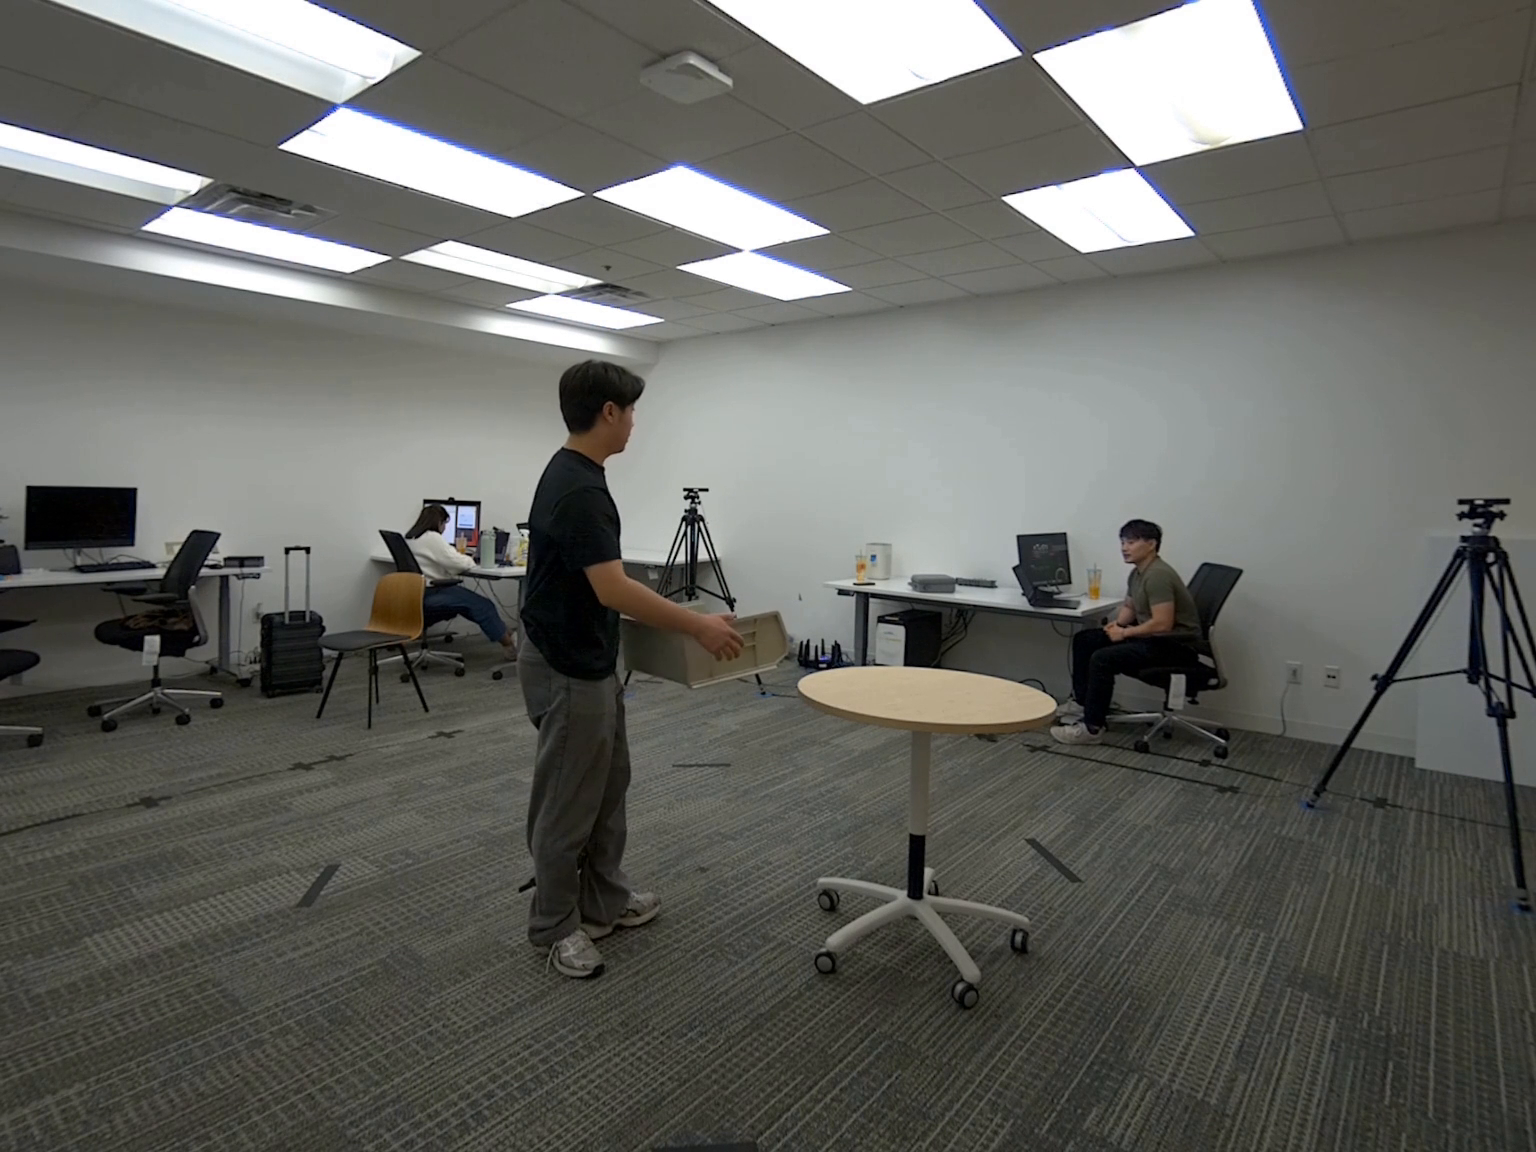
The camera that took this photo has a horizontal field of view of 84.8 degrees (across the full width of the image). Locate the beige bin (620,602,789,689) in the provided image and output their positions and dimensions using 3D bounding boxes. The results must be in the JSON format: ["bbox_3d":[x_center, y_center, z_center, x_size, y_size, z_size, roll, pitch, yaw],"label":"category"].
[{"bbox_3d":[-0.220,0.202,2.675,0.368,0.188,0.436,-10,9,-35],"label":"beige bin"}]
